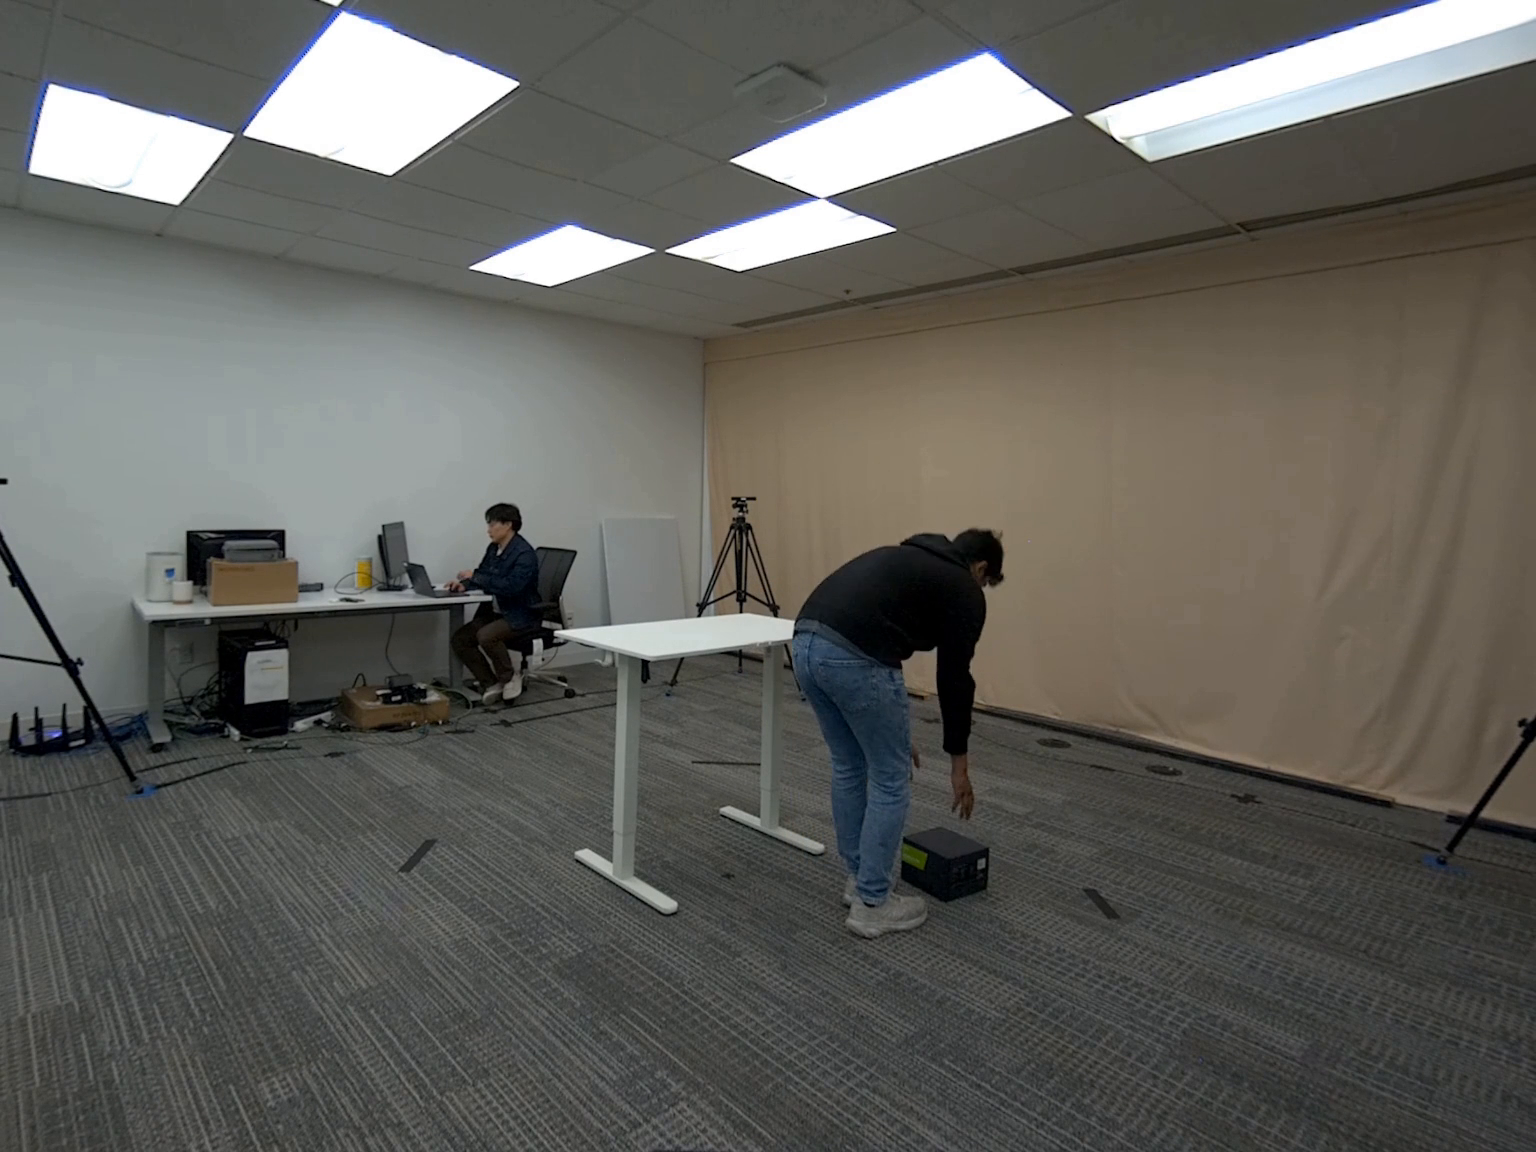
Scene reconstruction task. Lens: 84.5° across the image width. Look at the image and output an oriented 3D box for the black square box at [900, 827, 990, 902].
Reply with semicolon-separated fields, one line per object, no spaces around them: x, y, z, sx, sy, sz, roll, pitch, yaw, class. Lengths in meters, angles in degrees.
0.636;1.046;3.082;0.212;0.155;0.233;-1;5;-36;black square box
